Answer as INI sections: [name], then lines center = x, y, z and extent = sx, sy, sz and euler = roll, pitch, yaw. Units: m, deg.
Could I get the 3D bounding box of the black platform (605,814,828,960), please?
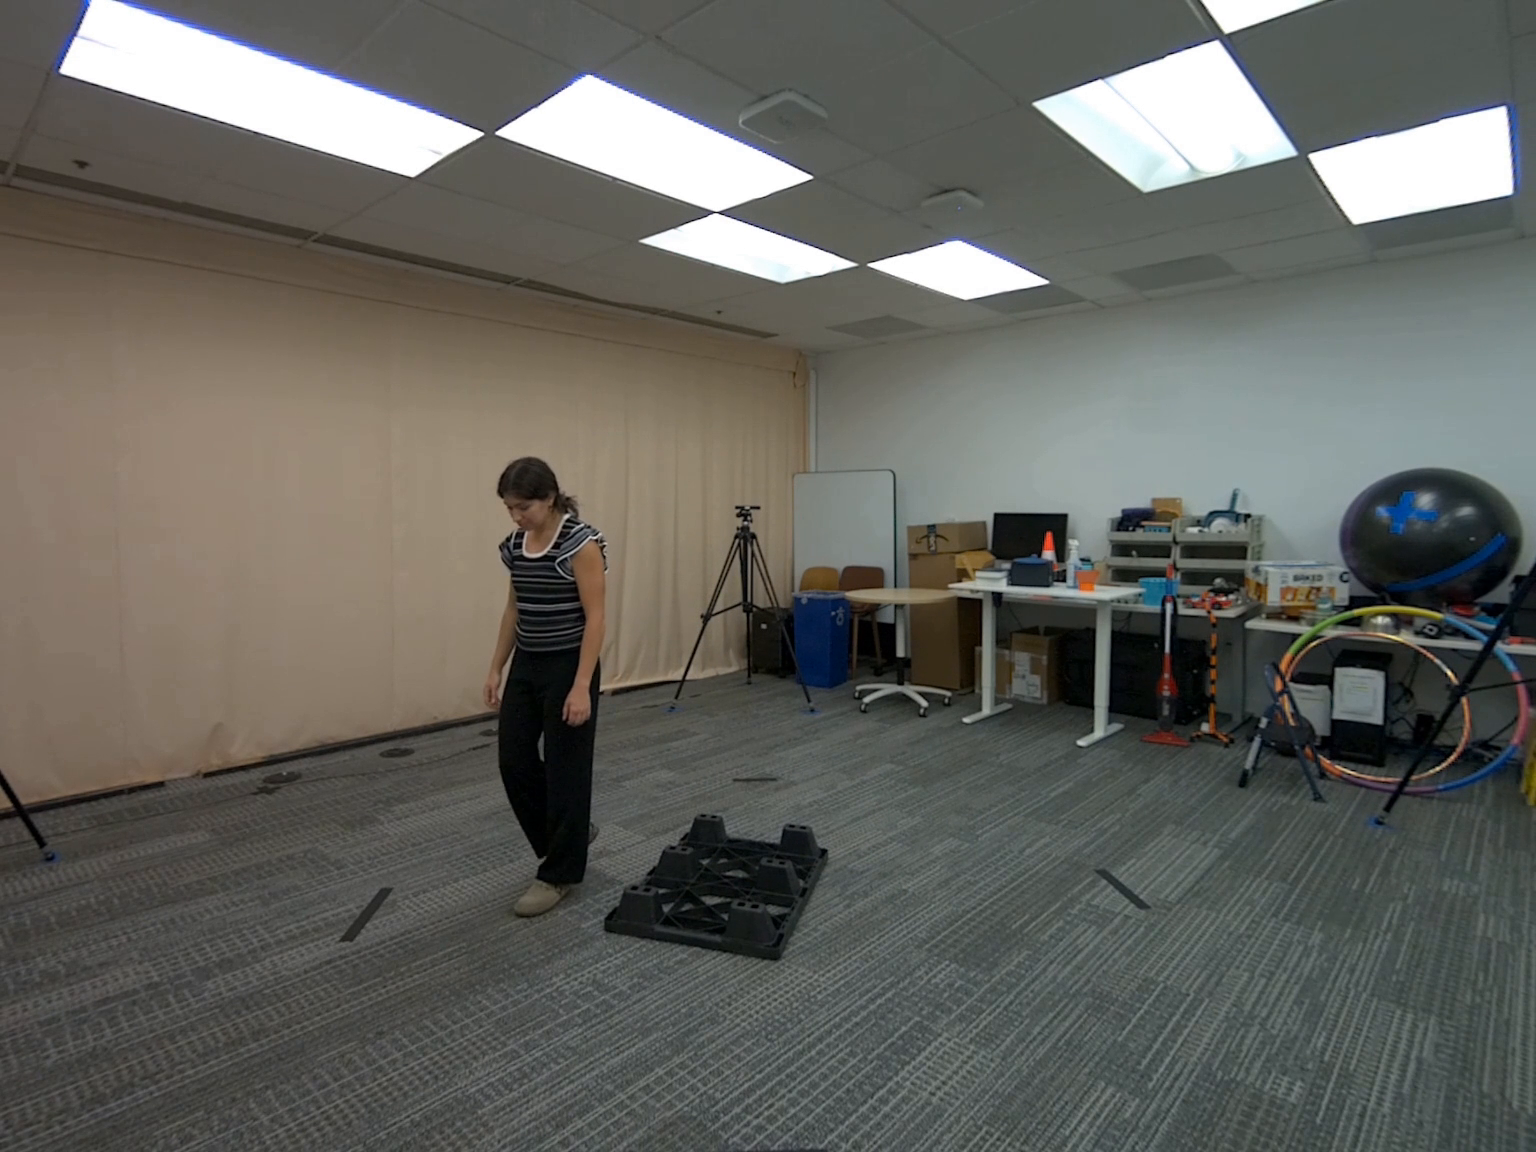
[black platform]
center = -0.148, 1.073, 3.031
extent = 0.616, 0.143, 0.793
euler = 1, 5, 16
